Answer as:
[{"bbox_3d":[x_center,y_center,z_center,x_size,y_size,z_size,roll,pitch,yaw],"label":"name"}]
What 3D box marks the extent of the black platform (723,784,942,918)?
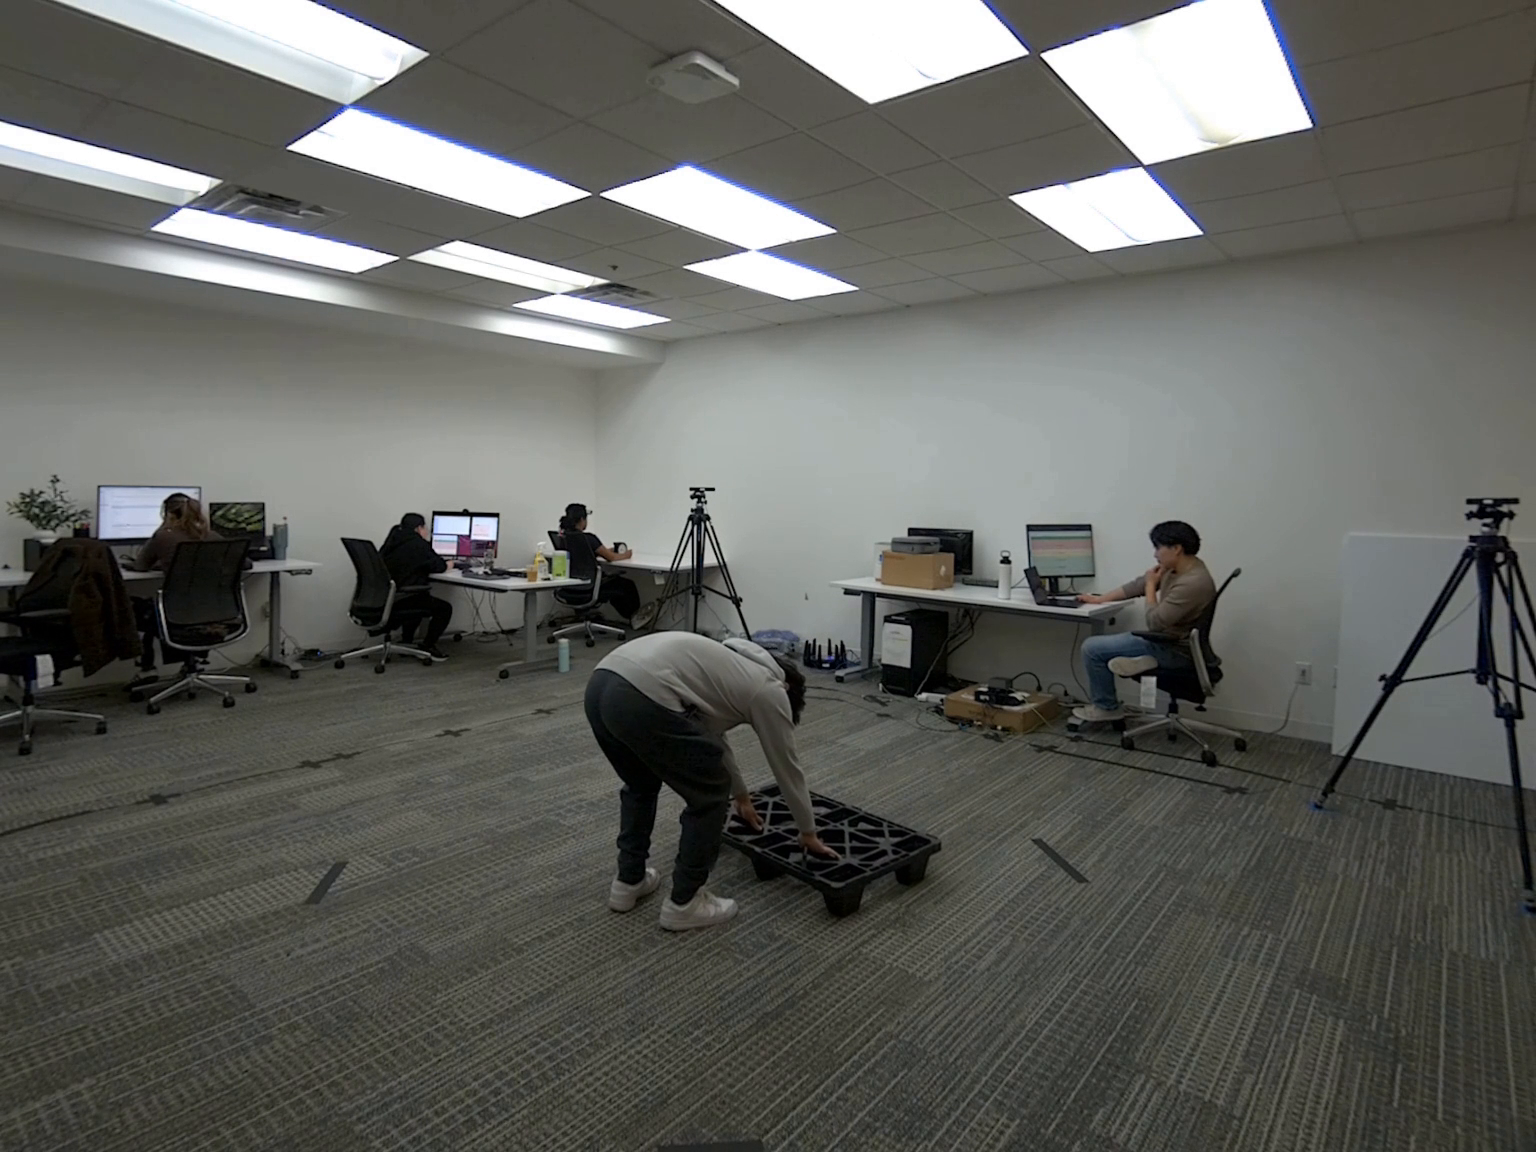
[{"bbox_3d":[0.137,1.001,3.184,0.587,0.143,0.833,-4,8,-43],"label":"black platform"}]
